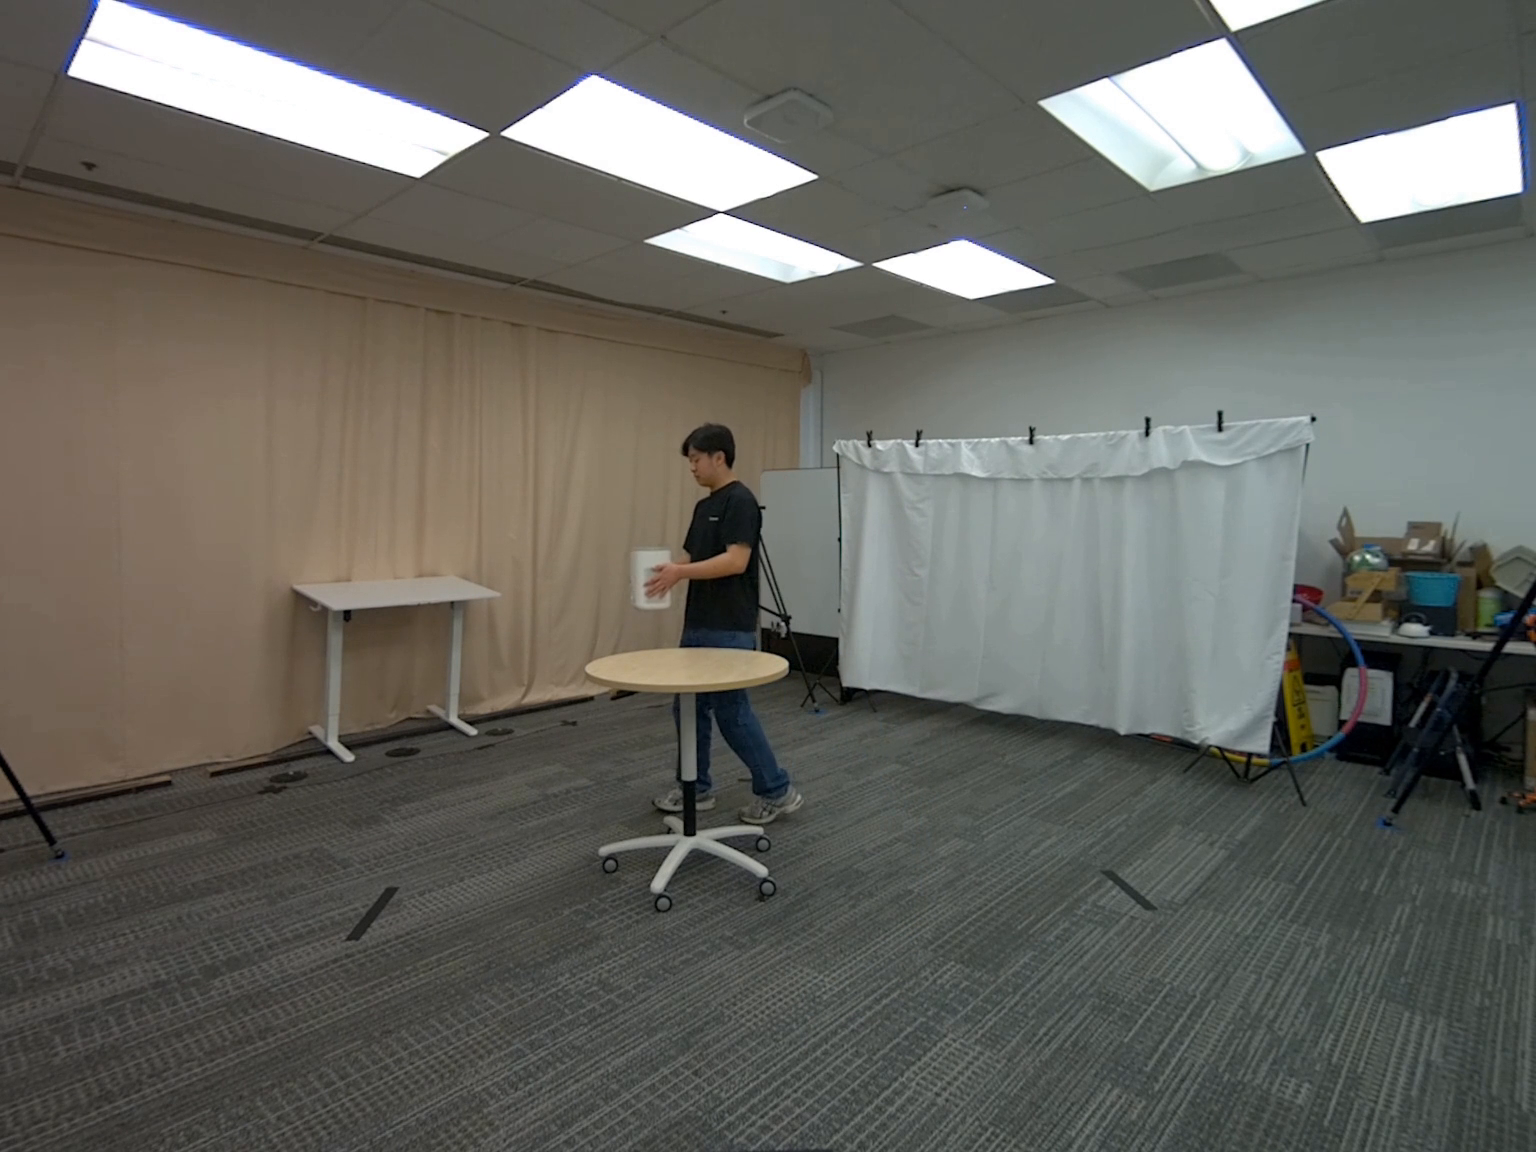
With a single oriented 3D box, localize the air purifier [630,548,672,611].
[{"bbox_3d":[-0.510,0.009,3.679,0.168,0.265,0.175,-2,4,-23],"label":"air purifier"}]
